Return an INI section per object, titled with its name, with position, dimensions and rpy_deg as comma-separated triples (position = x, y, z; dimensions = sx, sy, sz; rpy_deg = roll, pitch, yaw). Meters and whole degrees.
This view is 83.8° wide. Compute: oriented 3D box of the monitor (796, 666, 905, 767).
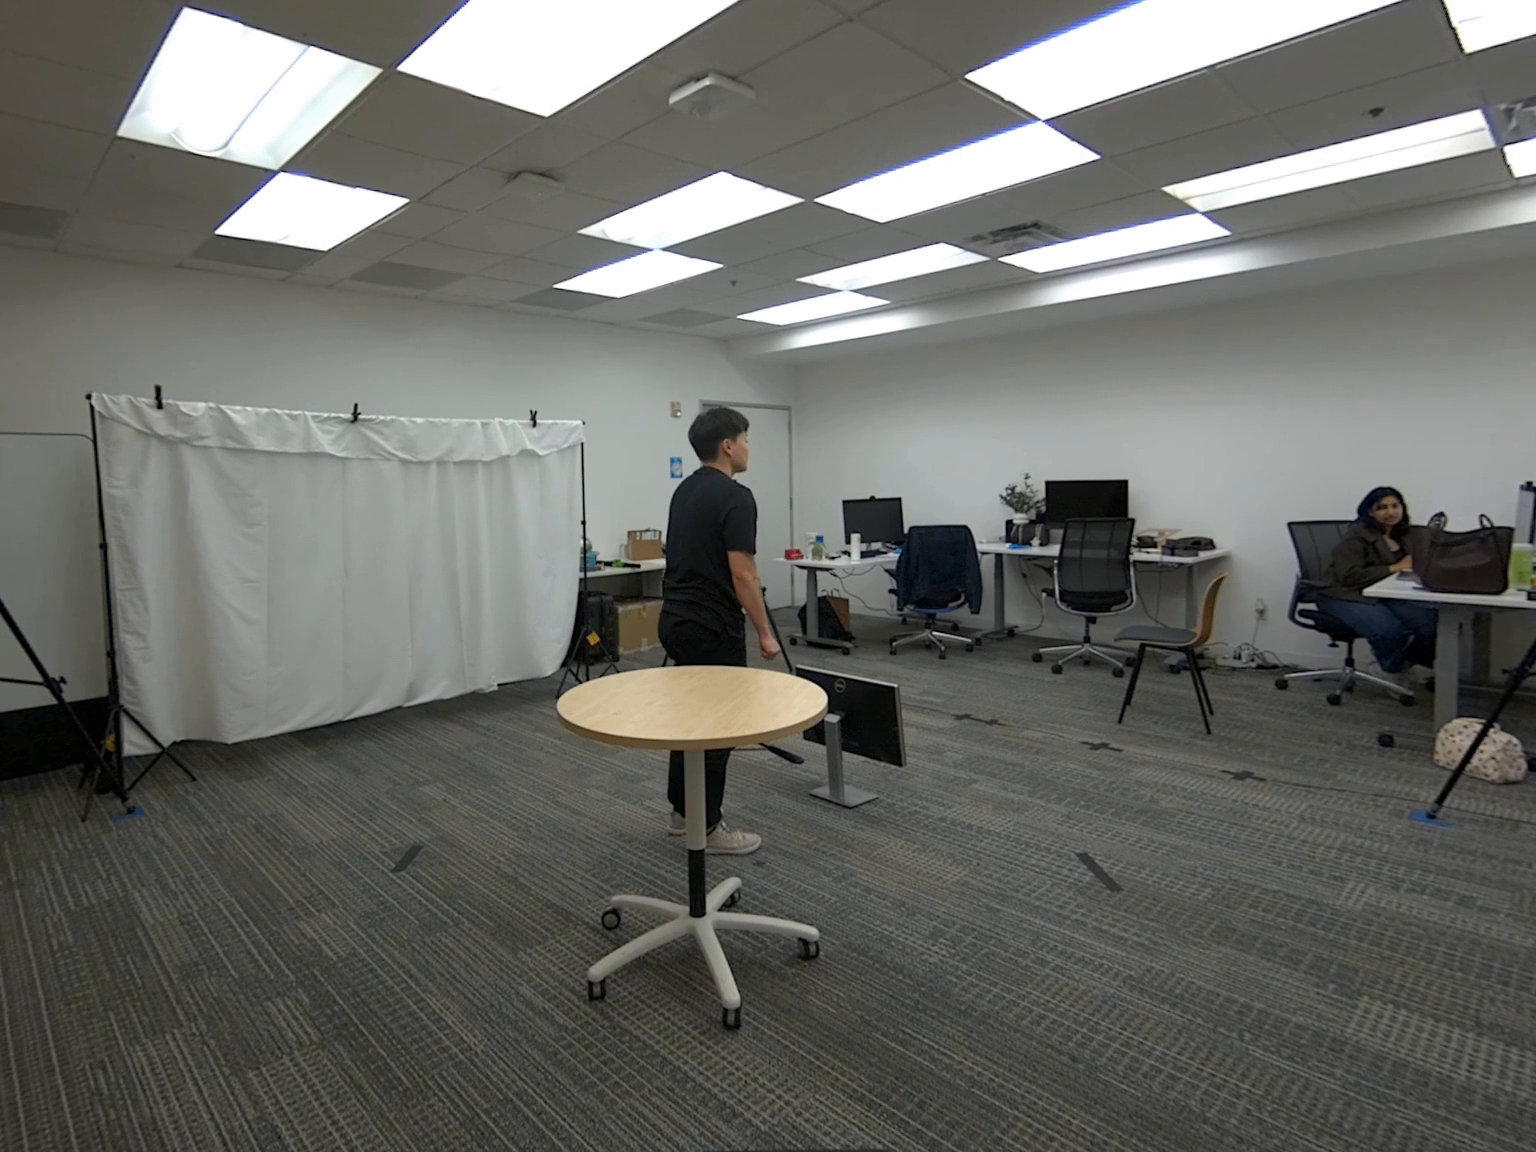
[monitor]
position = 0.332, 0.706, 3.751
dimensions = 0.556, 0.522, 0.182
rpy_deg = 4, 2, 44
